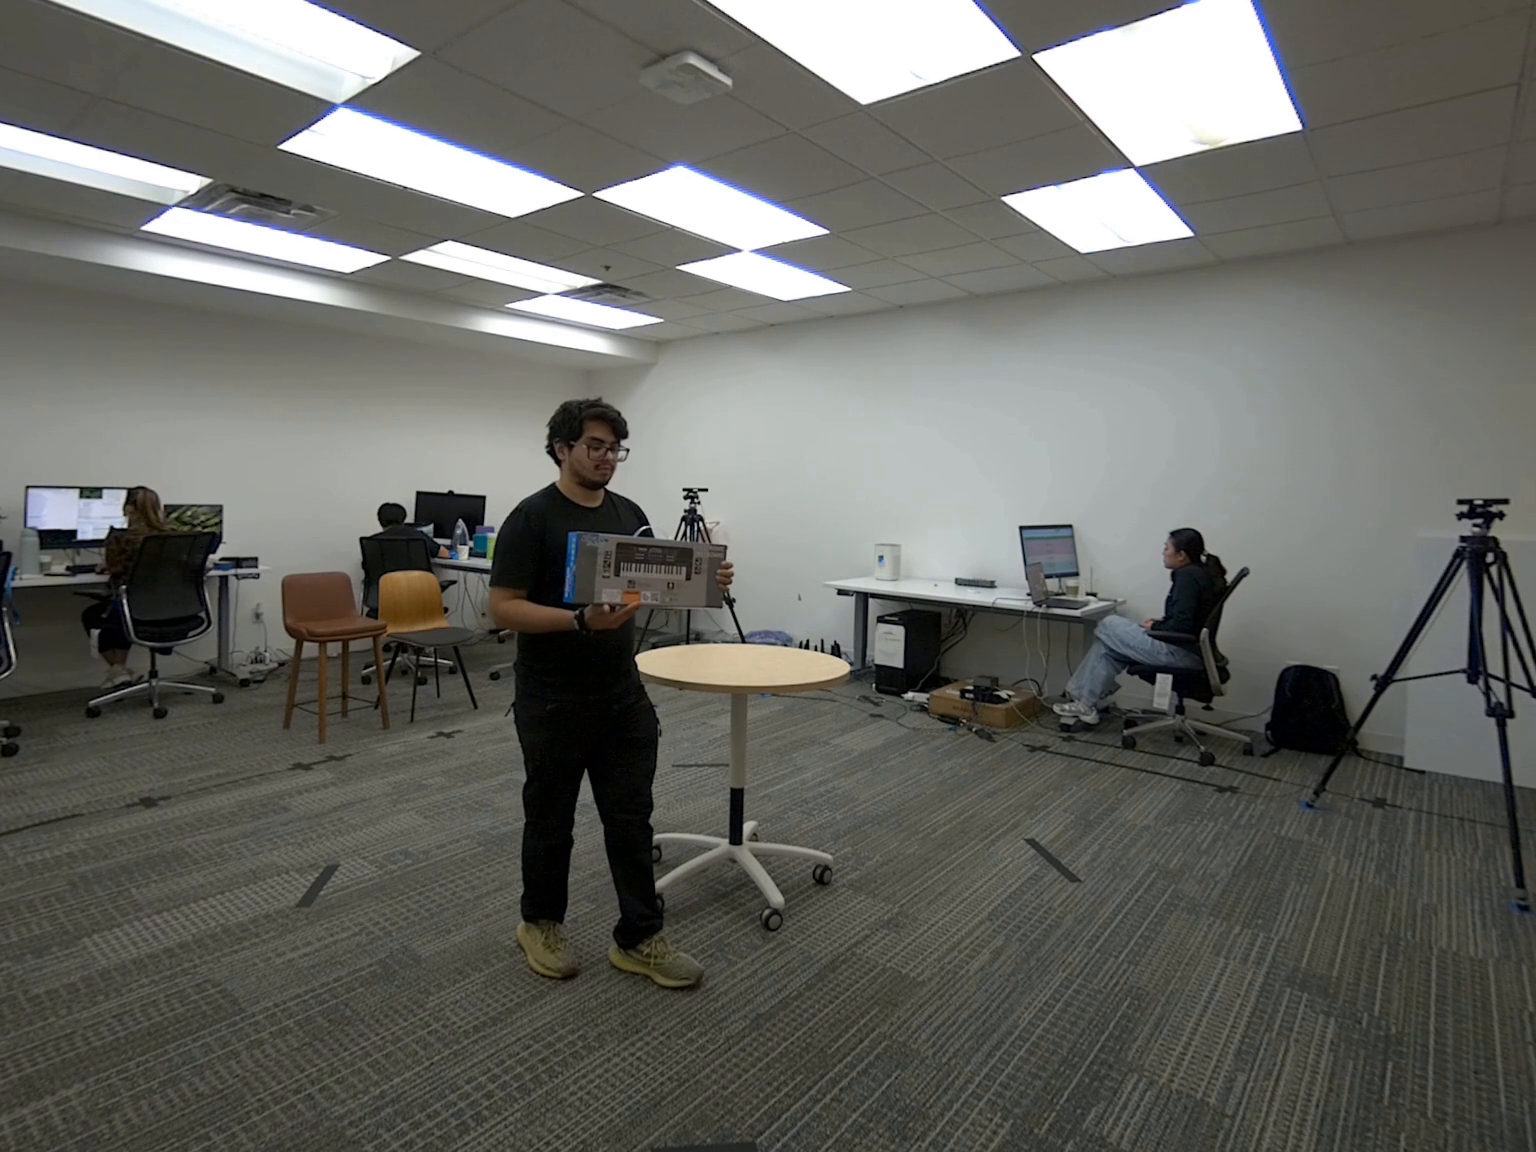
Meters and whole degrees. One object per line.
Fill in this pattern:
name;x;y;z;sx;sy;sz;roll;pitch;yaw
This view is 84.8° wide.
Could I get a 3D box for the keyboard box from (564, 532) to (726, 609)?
keyboard box;-0.321;-0.011;2.180;0.423;0.176;0.061;4;0;-35
